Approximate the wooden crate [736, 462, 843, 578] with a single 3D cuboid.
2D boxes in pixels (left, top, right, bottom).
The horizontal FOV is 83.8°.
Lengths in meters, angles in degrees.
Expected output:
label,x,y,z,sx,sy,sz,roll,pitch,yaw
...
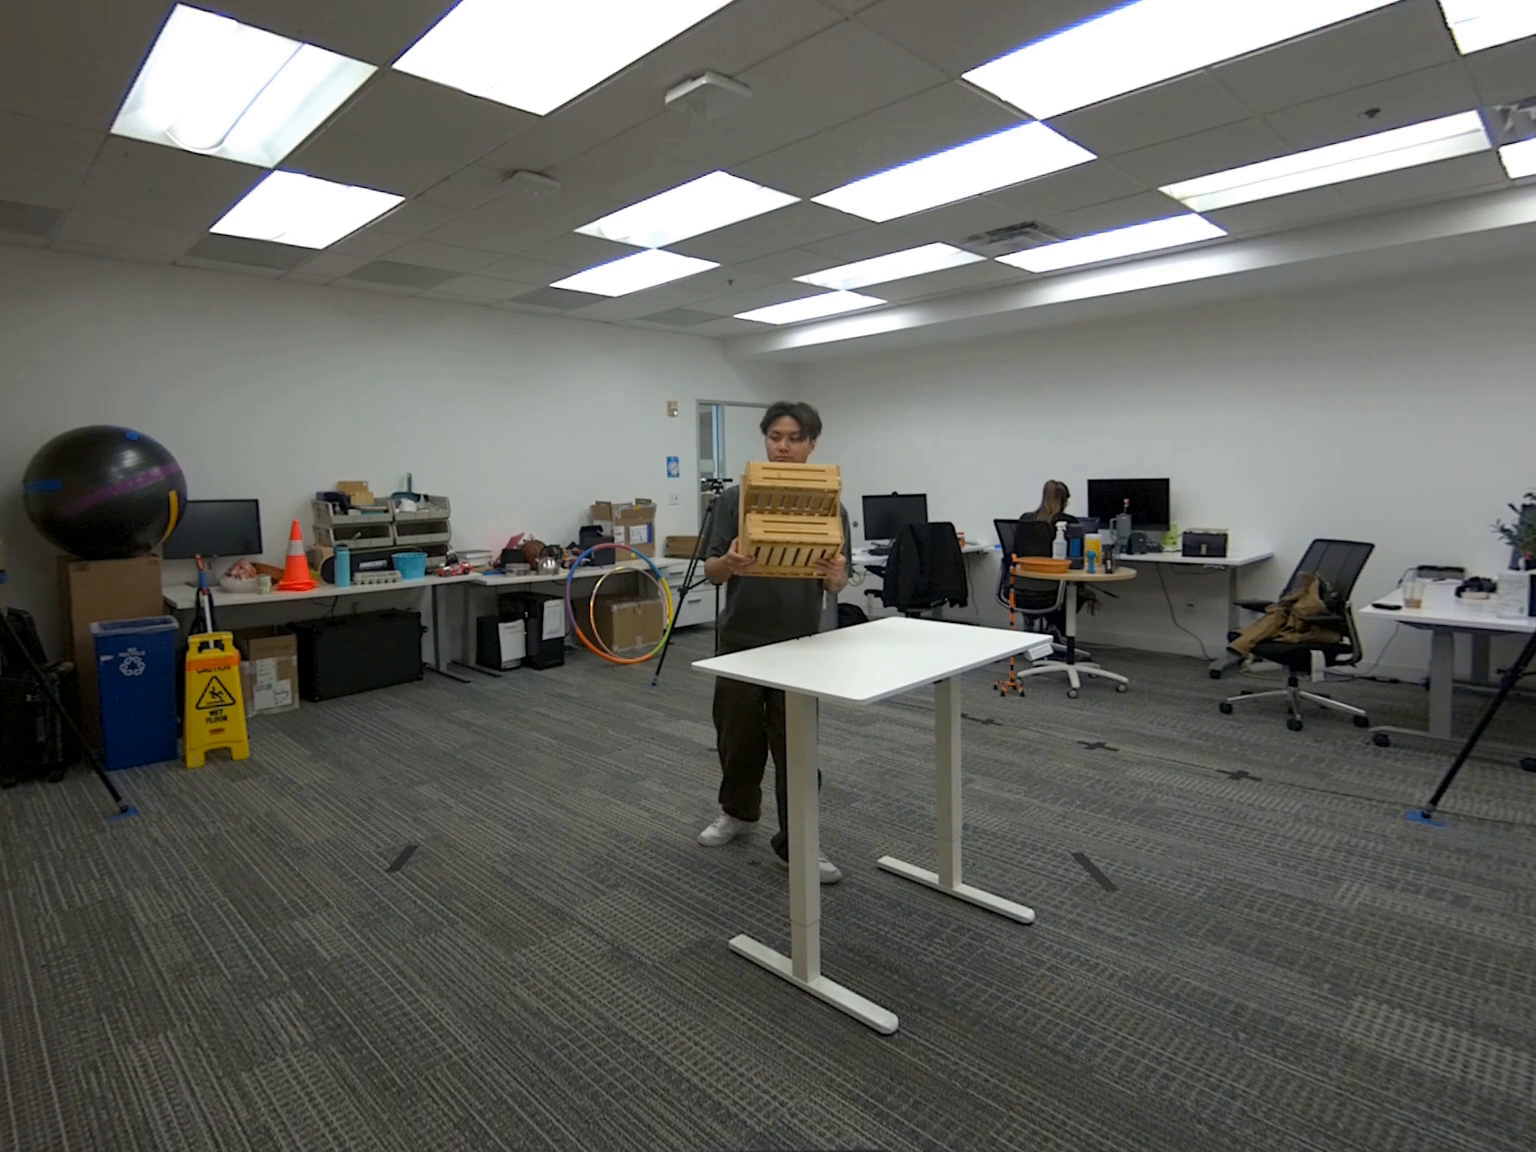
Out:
label,x,y,z,sx,sy,sz,roll,pitch,yaw
wooden crate,0.057,-0.175,2.789,0.322,0.280,0.297,2,-31,-8
